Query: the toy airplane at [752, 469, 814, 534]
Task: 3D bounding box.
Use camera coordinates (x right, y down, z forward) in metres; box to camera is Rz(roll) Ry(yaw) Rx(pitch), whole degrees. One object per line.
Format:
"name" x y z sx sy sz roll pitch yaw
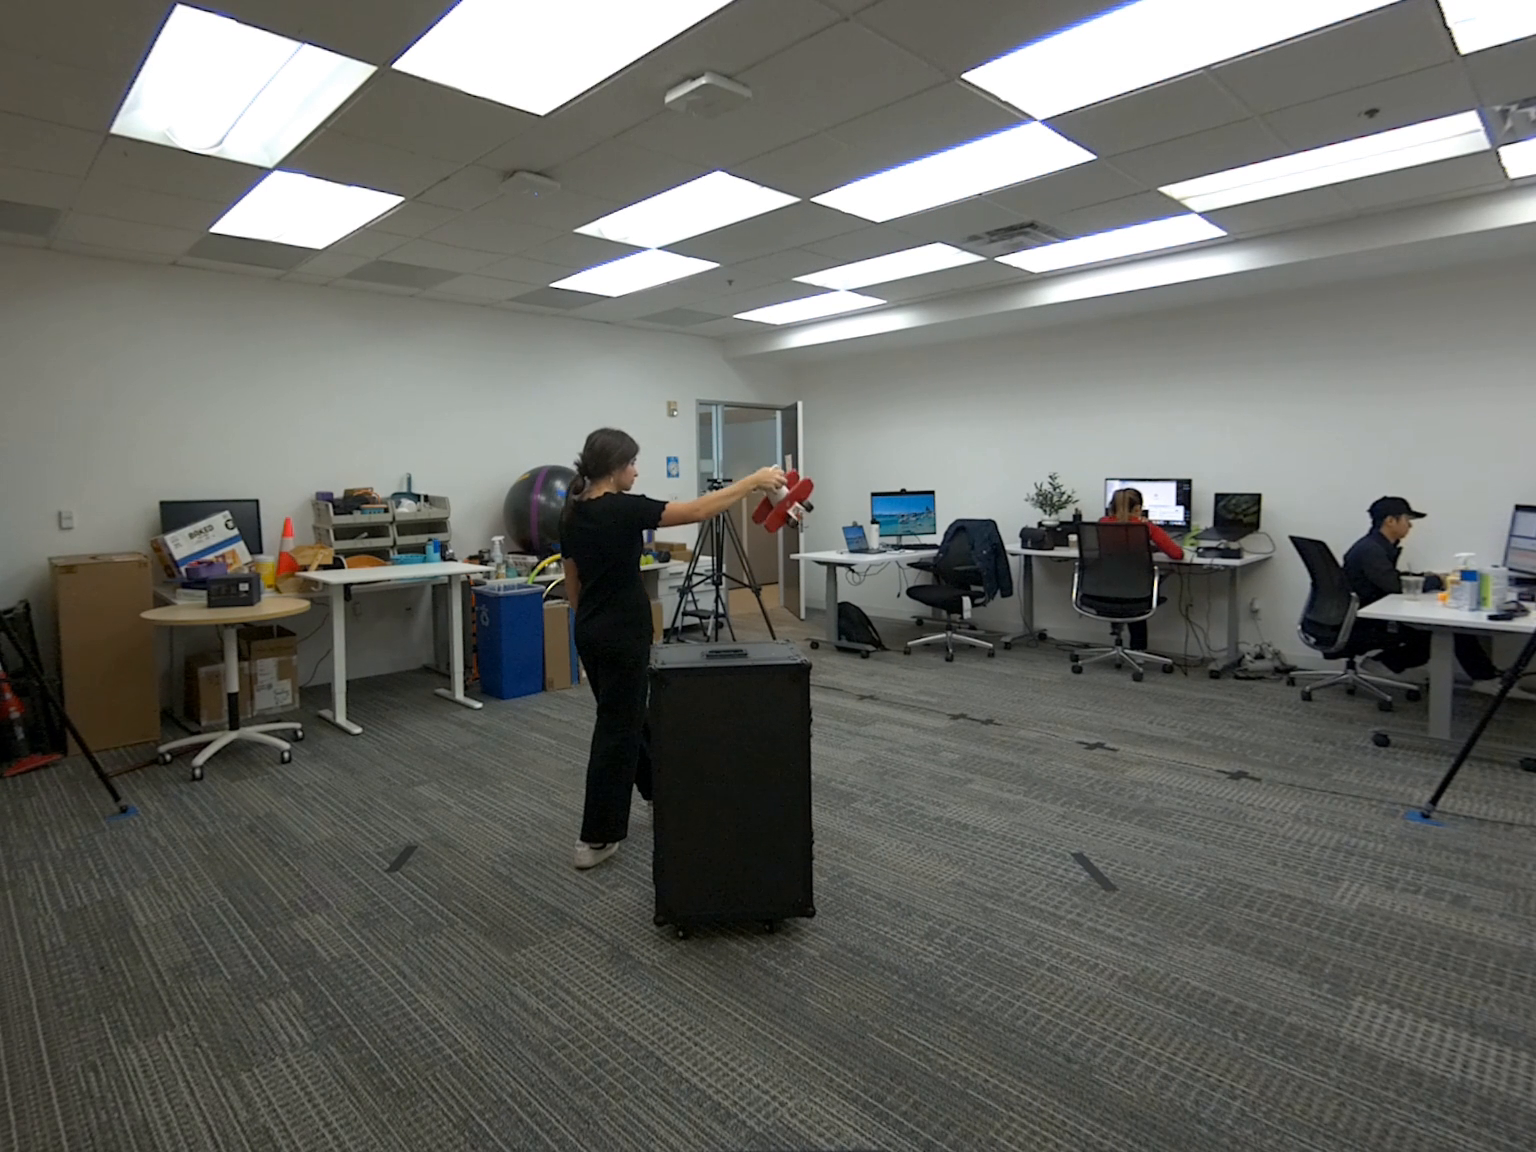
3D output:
"toy airplane" 0.059 -0.313 3.188 0.248 0.253 0.162 -23 28 -23
